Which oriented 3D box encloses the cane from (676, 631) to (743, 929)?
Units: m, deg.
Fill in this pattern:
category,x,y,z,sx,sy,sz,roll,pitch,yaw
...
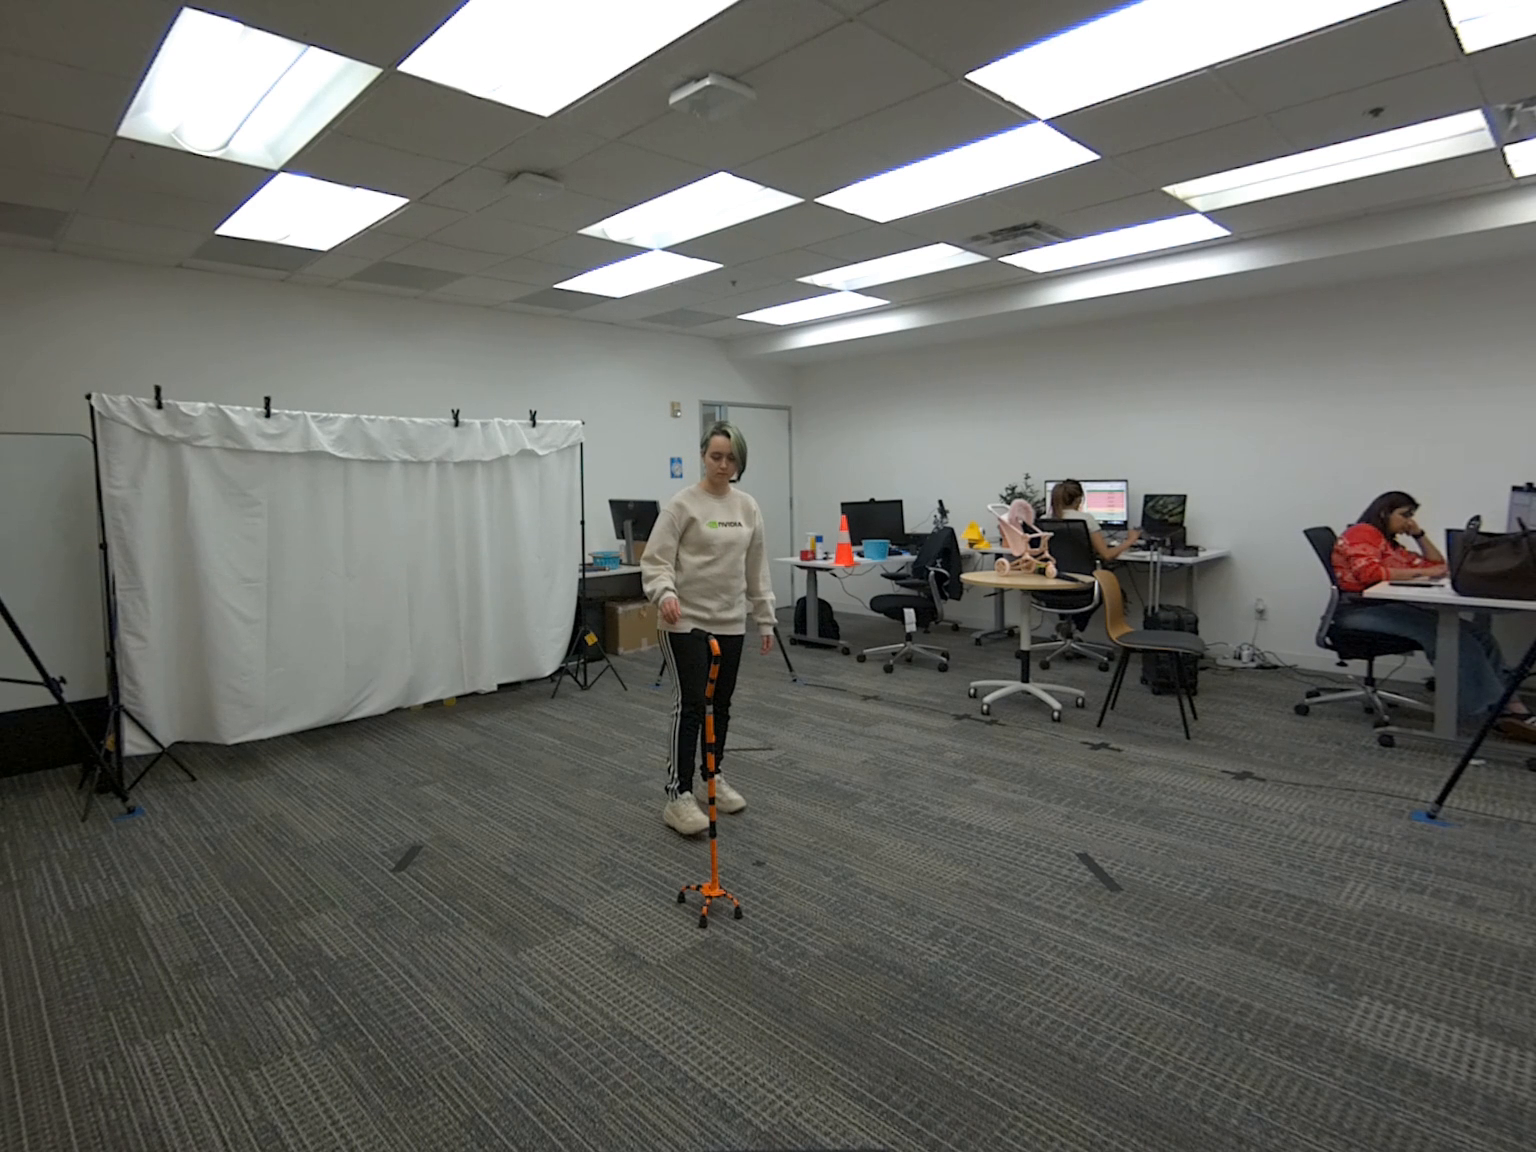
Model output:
category,x,y,z,sx,sy,sz,roll,pitch,yaw
cane,-0.198,0.640,2.757,0.148,0.905,0.211,-3,4,-26
